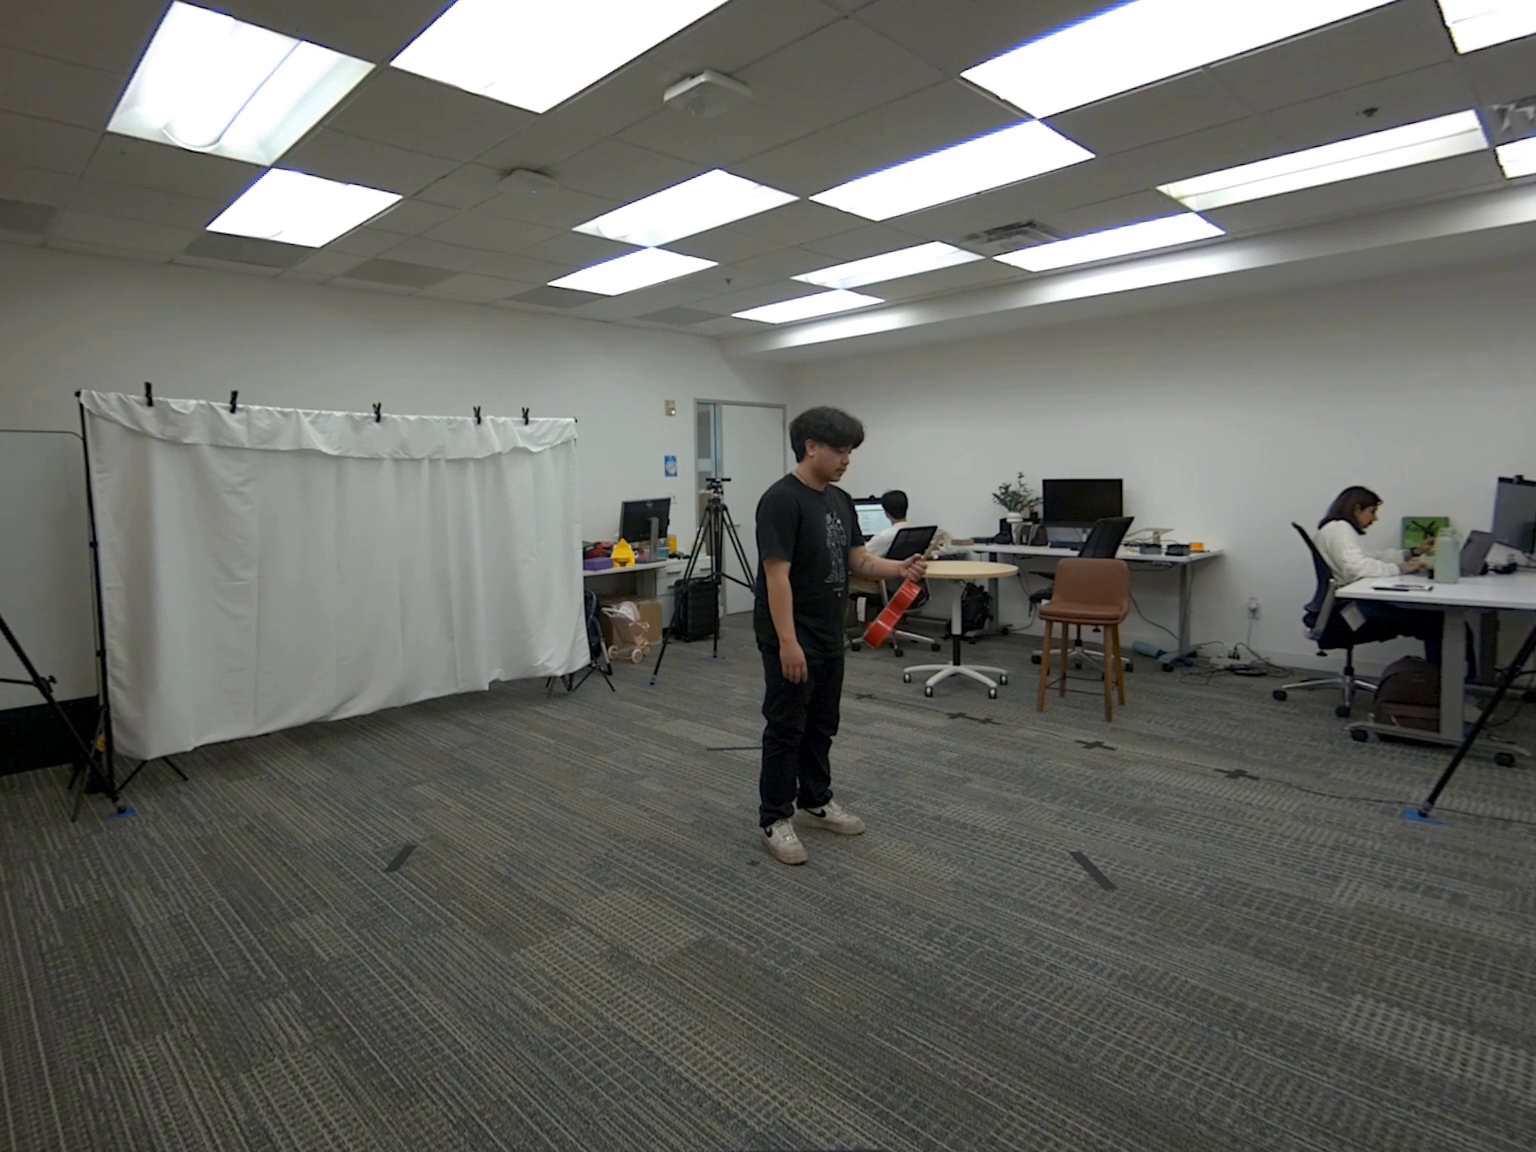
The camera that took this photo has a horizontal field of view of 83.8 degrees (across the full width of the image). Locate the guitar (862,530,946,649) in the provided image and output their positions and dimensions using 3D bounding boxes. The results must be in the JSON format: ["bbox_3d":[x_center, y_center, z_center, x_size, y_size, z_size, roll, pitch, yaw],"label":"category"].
[{"bbox_3d":[0.510,0.054,3.077,0.071,0.496,0.191,37,13,5],"label":"guitar"}]
